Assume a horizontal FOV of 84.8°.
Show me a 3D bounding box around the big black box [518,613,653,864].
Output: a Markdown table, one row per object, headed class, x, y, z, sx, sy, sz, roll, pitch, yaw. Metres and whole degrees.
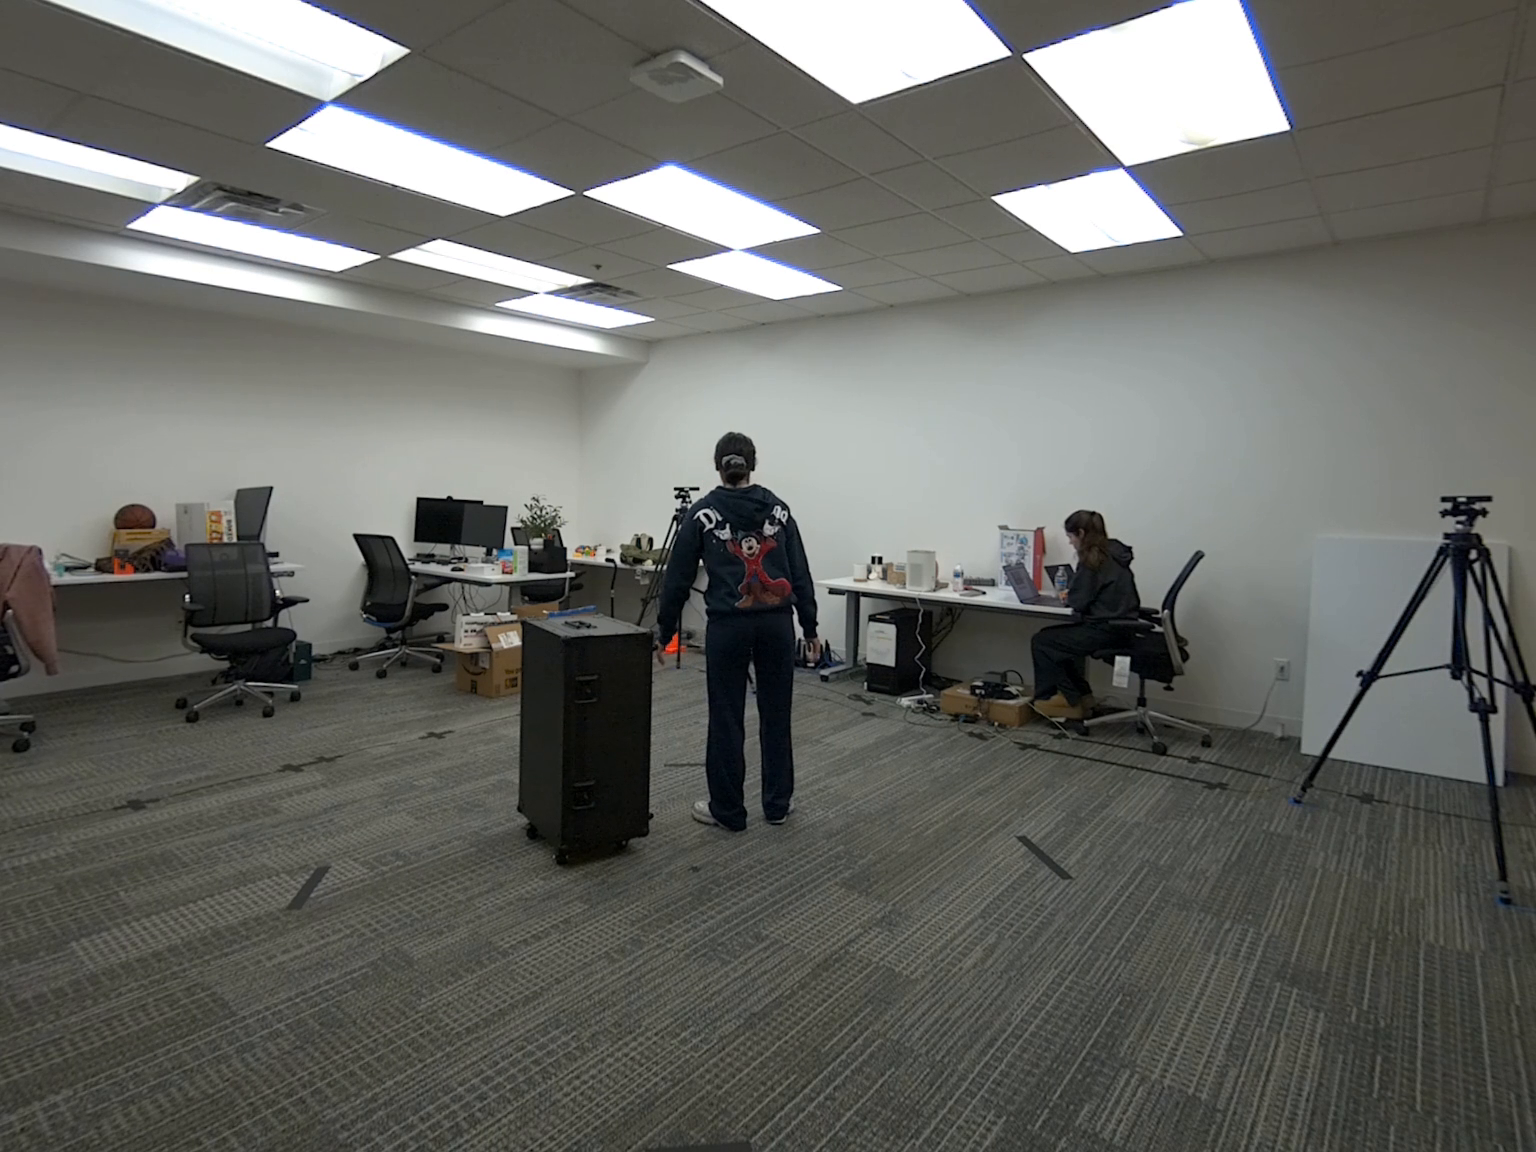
| class | x | y | z | sx | sy | sz | roll | pitch | yaw |
| --- | --- | --- | --- | --- | --- | --- | --- | --- | --- |
| big black box | -0.734 | 0.615 | 3.331 | 0.385 | 0.860 | 0.537 | 1 | 2 | -33 |
